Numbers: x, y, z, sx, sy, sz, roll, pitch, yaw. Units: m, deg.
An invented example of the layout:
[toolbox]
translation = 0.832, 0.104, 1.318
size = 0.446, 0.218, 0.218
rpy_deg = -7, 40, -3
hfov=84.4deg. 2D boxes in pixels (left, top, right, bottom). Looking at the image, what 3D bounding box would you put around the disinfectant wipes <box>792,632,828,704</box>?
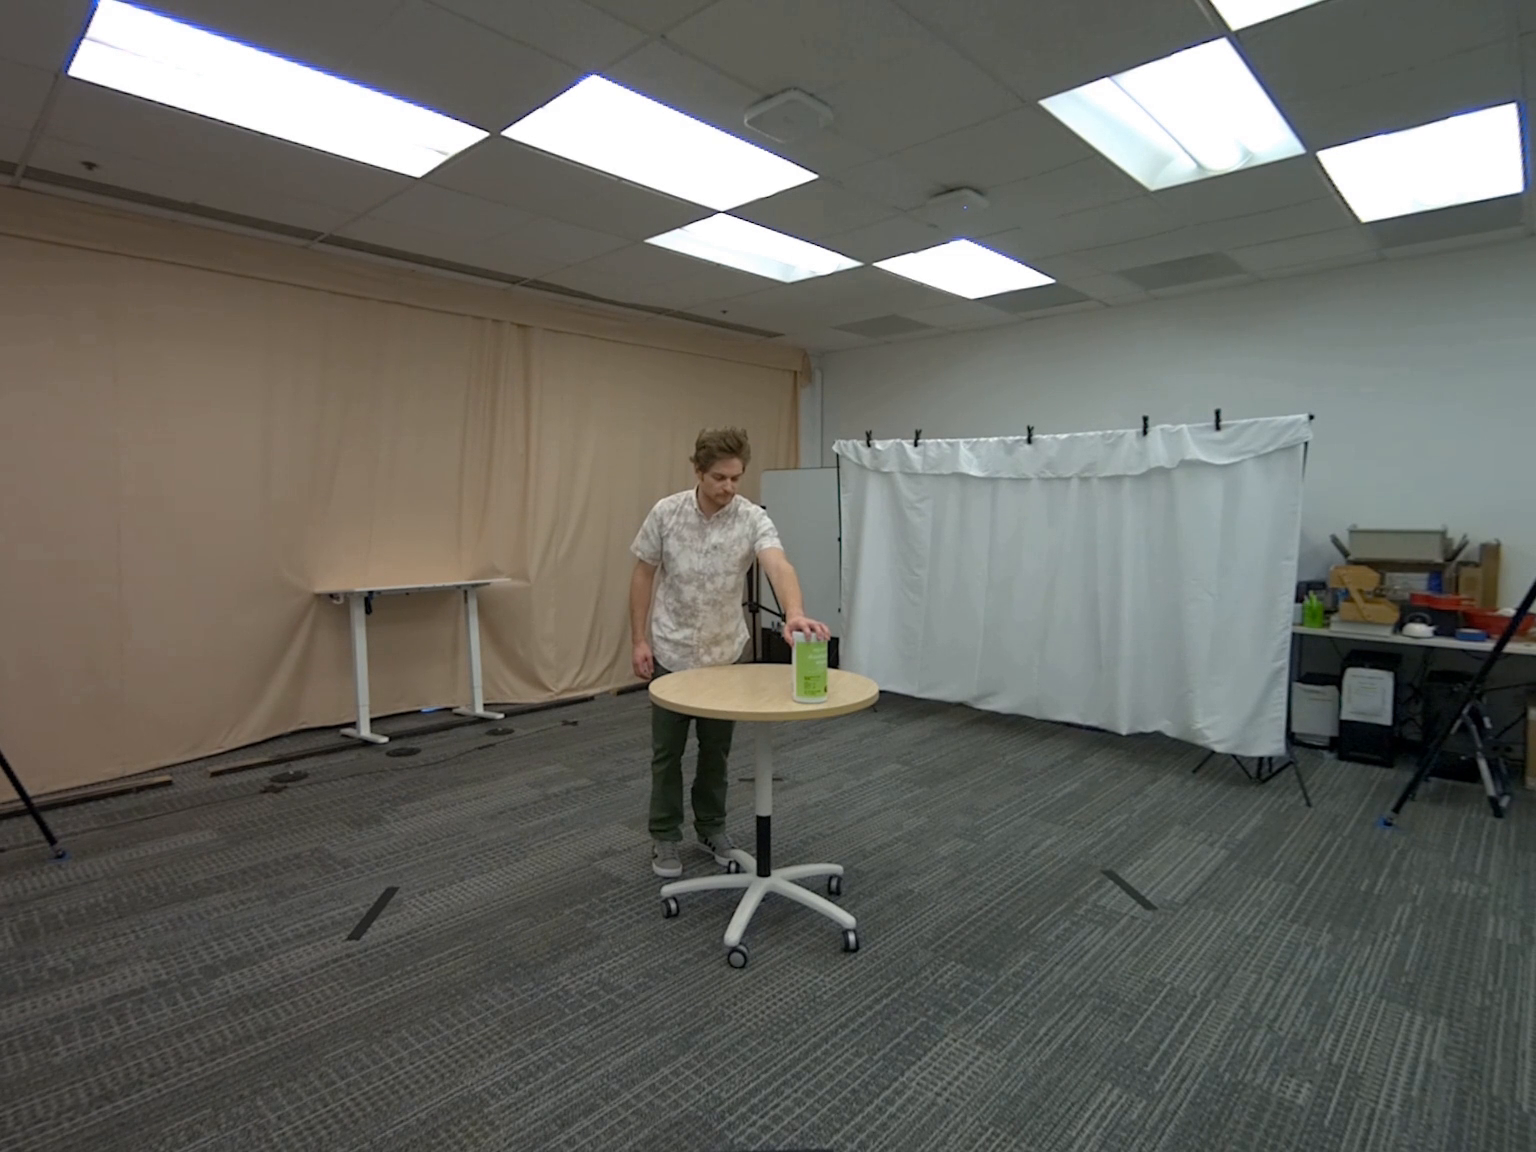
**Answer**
[disinfectant wipes]
translation = 0.130, 0.276, 2.591
size = 0.118, 0.217, 0.118
rpy_deg = 1, 1, -2
